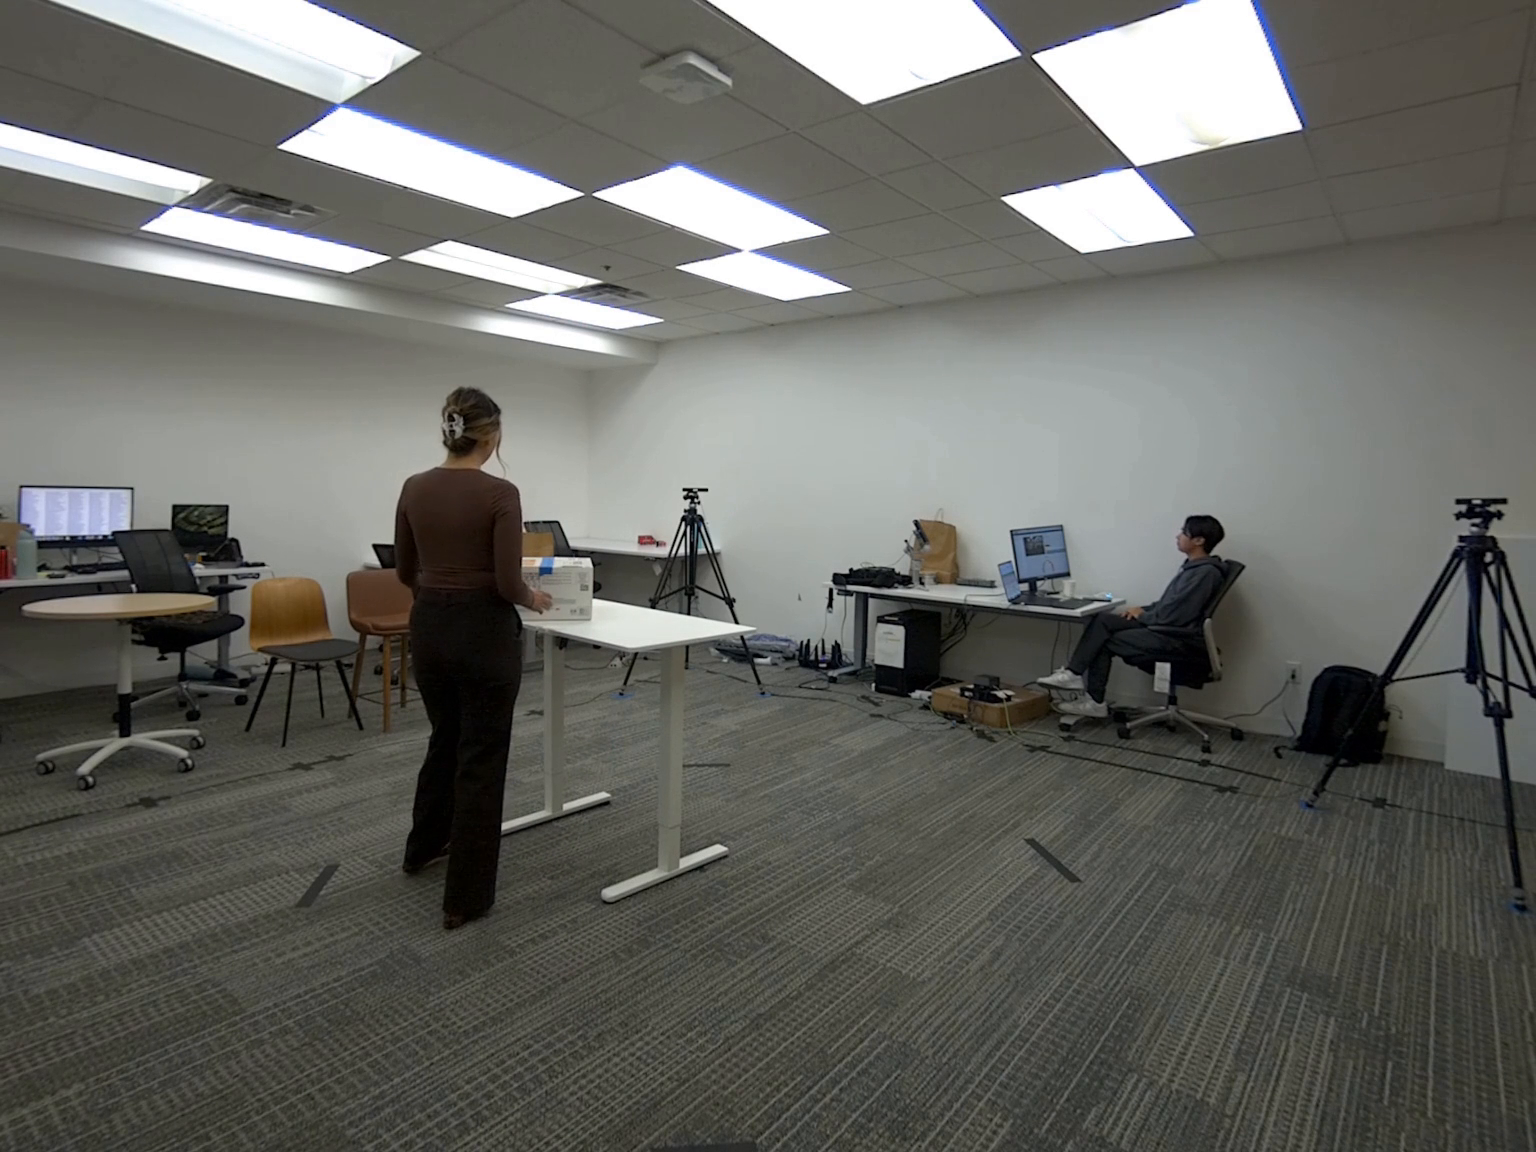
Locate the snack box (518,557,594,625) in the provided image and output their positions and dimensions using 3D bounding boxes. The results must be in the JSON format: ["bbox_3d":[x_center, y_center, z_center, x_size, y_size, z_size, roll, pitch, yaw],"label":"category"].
[{"bbox_3d":[-0.890,0.045,3.397,0.336,0.205,0.412,-1,6,-12],"label":"snack box"}]
